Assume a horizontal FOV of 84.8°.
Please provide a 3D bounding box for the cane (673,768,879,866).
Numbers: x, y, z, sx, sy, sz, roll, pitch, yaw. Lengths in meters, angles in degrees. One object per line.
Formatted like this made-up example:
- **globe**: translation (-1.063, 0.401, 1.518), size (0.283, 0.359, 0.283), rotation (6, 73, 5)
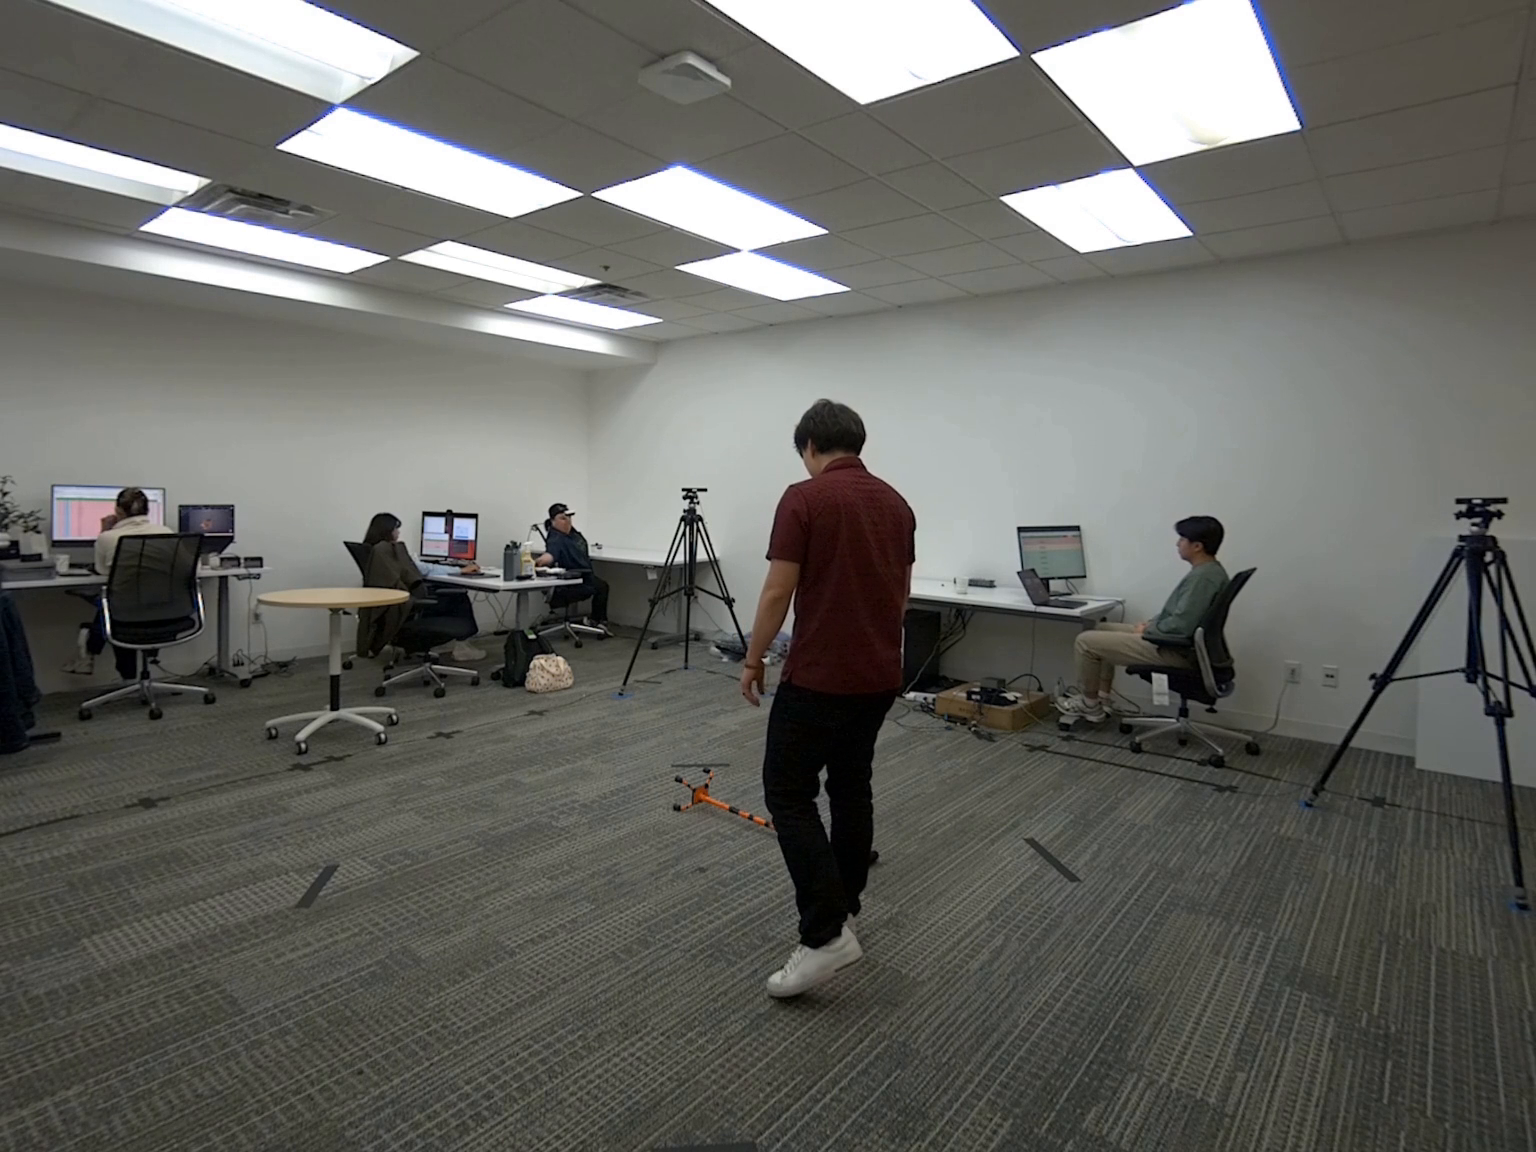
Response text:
- **cane**: translation (-0.003, 0.988, 3.444), size (0.941, 0.151, 0.200), rotation (10, 10, 40)
